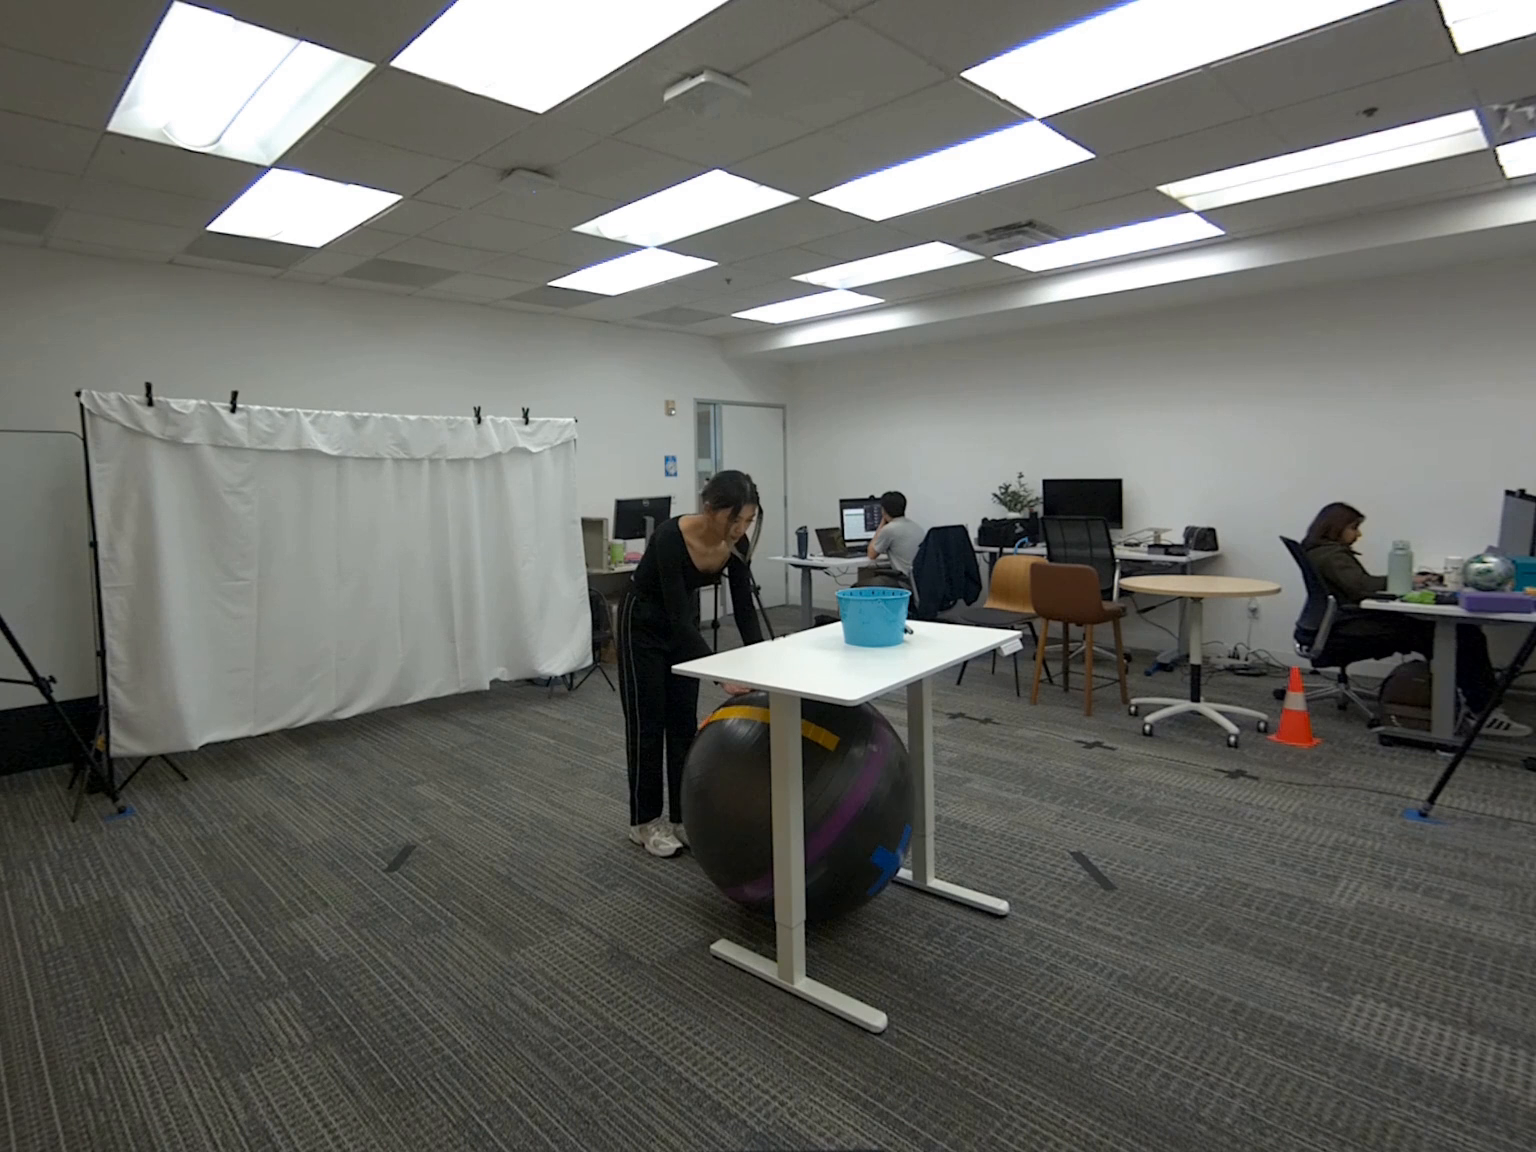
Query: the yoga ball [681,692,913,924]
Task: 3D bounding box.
[{"bbox_3d":[0.097,0.713,2.748,0.757,0.755,0.762,-1,5,-2],"label":"yoga ball"}]
